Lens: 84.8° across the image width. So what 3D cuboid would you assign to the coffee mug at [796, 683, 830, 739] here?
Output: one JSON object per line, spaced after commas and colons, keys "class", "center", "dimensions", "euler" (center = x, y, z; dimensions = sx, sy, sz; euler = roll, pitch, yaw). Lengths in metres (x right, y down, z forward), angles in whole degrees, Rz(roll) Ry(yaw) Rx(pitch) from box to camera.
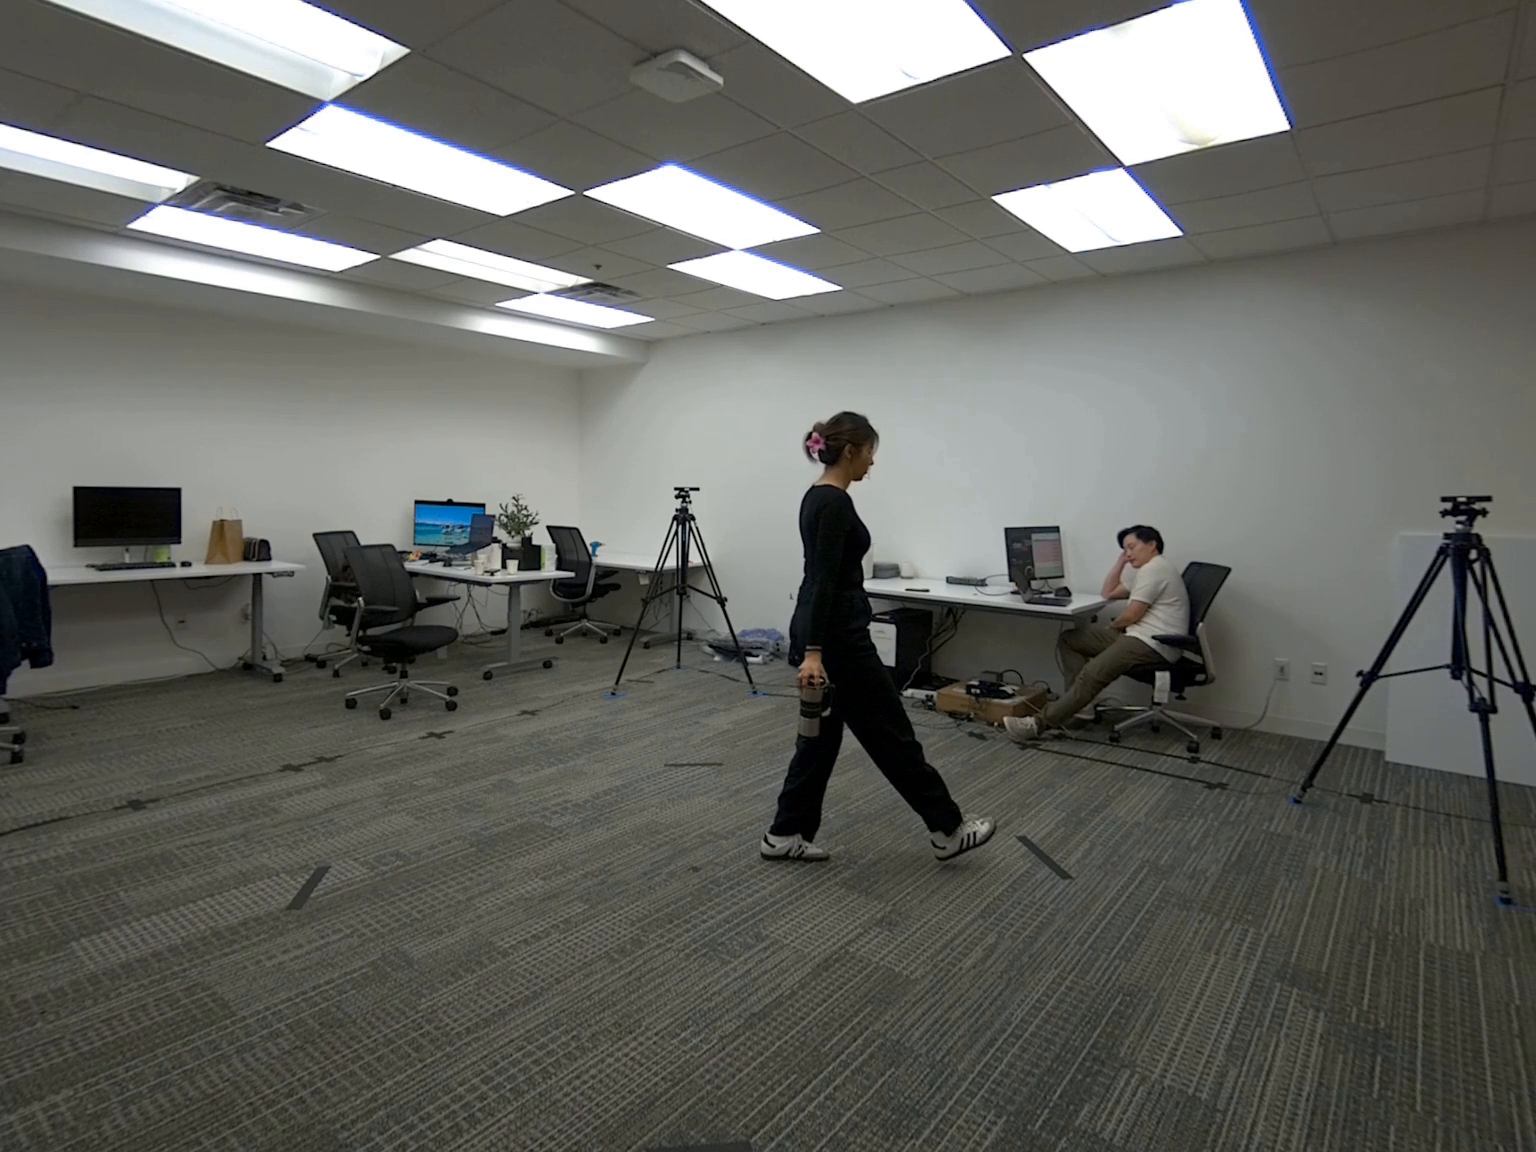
{"class": "coffee mug", "center": [0.169, 0.442, 2.803], "dimensions": [0.126, 0.201, 0.086], "euler": [8, 10, 33]}
